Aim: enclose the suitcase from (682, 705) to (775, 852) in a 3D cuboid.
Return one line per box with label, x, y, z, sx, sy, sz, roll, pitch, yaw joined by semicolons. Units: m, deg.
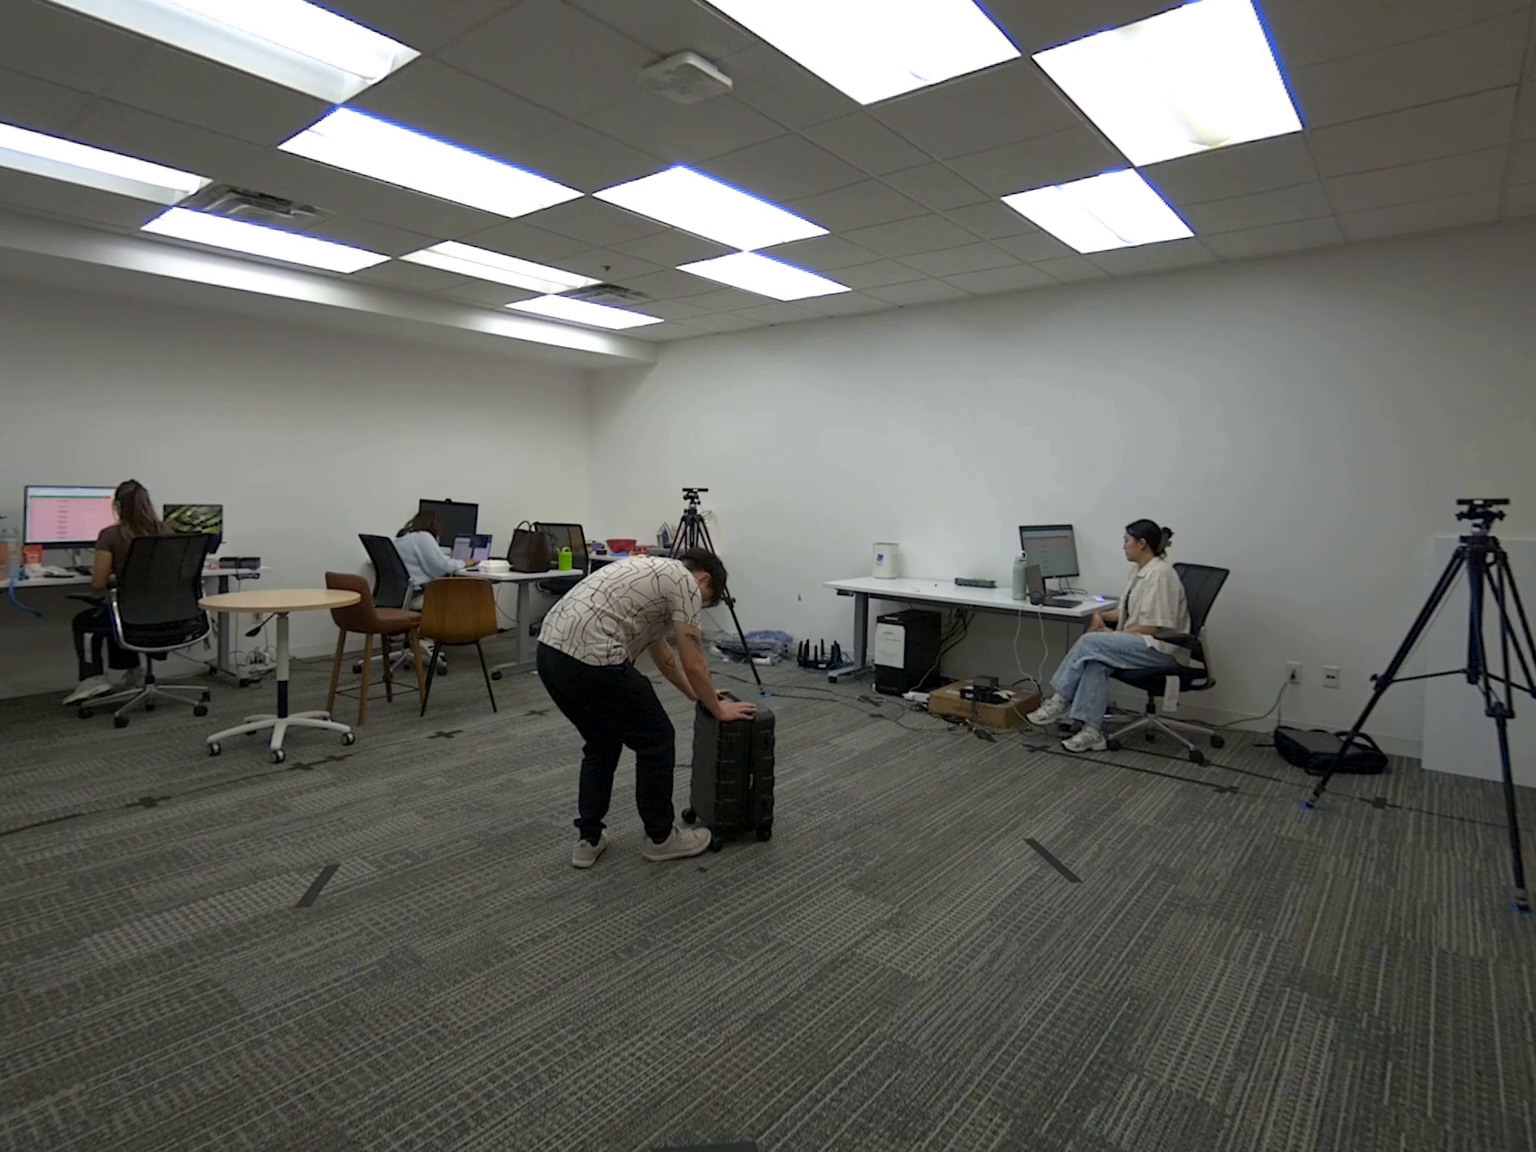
suitcase;-0.156;0.763;3.459;0.243;0.548;0.385;1;4;-23
